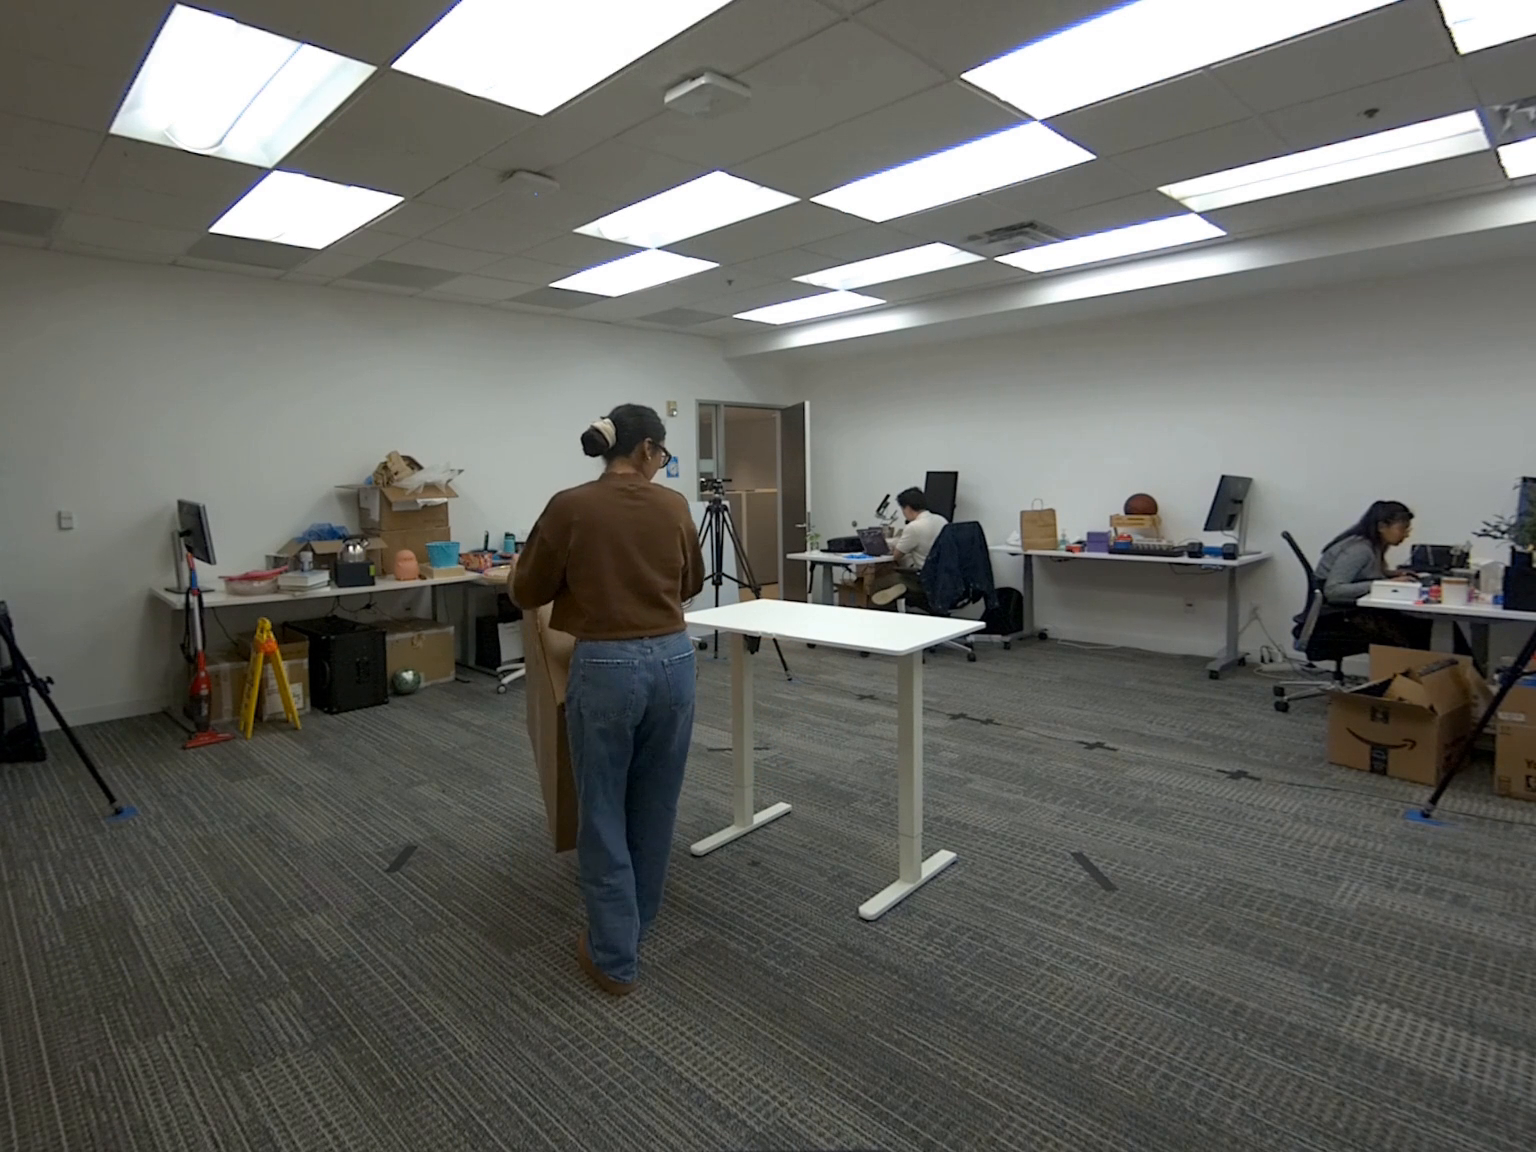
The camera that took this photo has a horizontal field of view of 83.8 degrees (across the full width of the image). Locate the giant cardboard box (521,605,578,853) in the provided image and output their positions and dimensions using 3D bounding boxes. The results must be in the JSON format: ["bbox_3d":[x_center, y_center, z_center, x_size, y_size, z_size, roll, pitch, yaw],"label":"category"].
[{"bbox_3d":[-0.585,0.433,2.968,0.420,0.598,1.005,-10,-39,-21],"label":"giant cardboard box"}]
